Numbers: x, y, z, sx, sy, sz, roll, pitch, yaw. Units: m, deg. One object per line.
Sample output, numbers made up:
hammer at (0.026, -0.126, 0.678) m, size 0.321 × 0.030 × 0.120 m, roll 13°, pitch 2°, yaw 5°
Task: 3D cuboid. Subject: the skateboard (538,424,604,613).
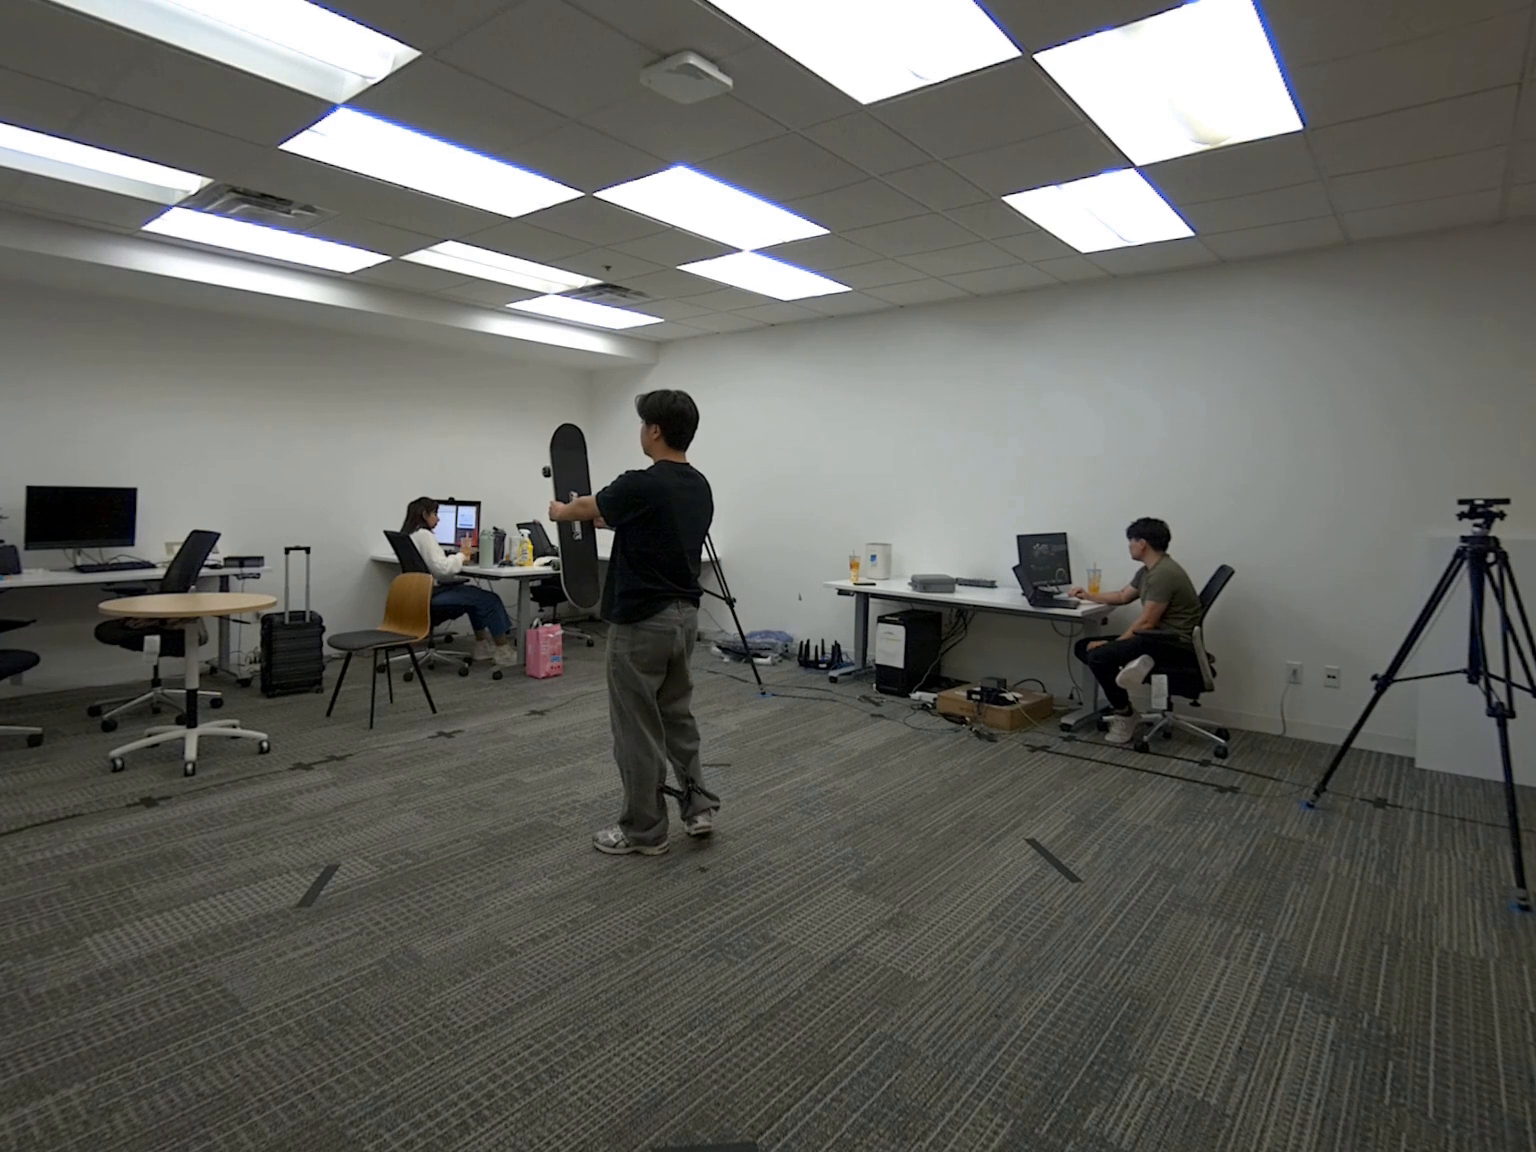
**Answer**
skateboard at (-0.844, -0.250, 3.607) m, size 0.113 × 0.789 × 0.187 m, roll -10°, pitch -6°, yaw 44°
